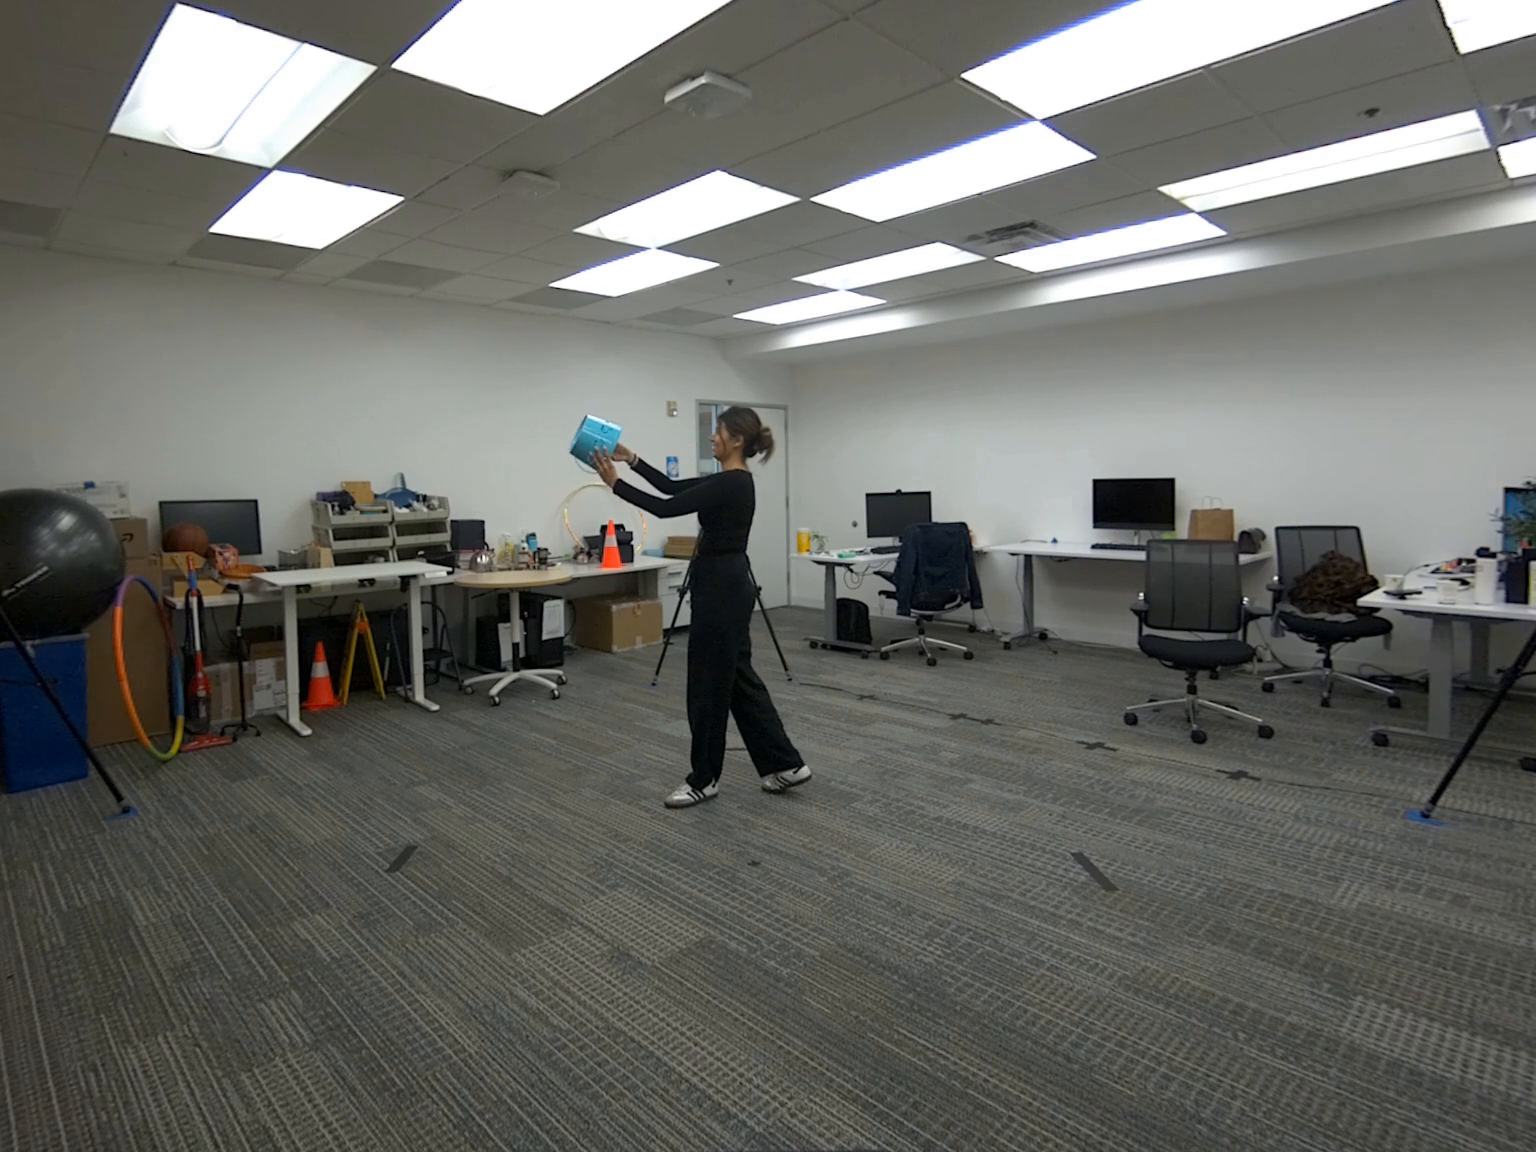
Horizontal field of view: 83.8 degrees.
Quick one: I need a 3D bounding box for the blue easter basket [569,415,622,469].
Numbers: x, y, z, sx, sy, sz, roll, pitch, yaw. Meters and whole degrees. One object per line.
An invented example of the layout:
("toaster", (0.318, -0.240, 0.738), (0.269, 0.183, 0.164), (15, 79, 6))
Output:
("blue easter basket", (-0.748, -0.568, 3.644), (0.153, 0.244, 0.248), (26, -3, -18))
